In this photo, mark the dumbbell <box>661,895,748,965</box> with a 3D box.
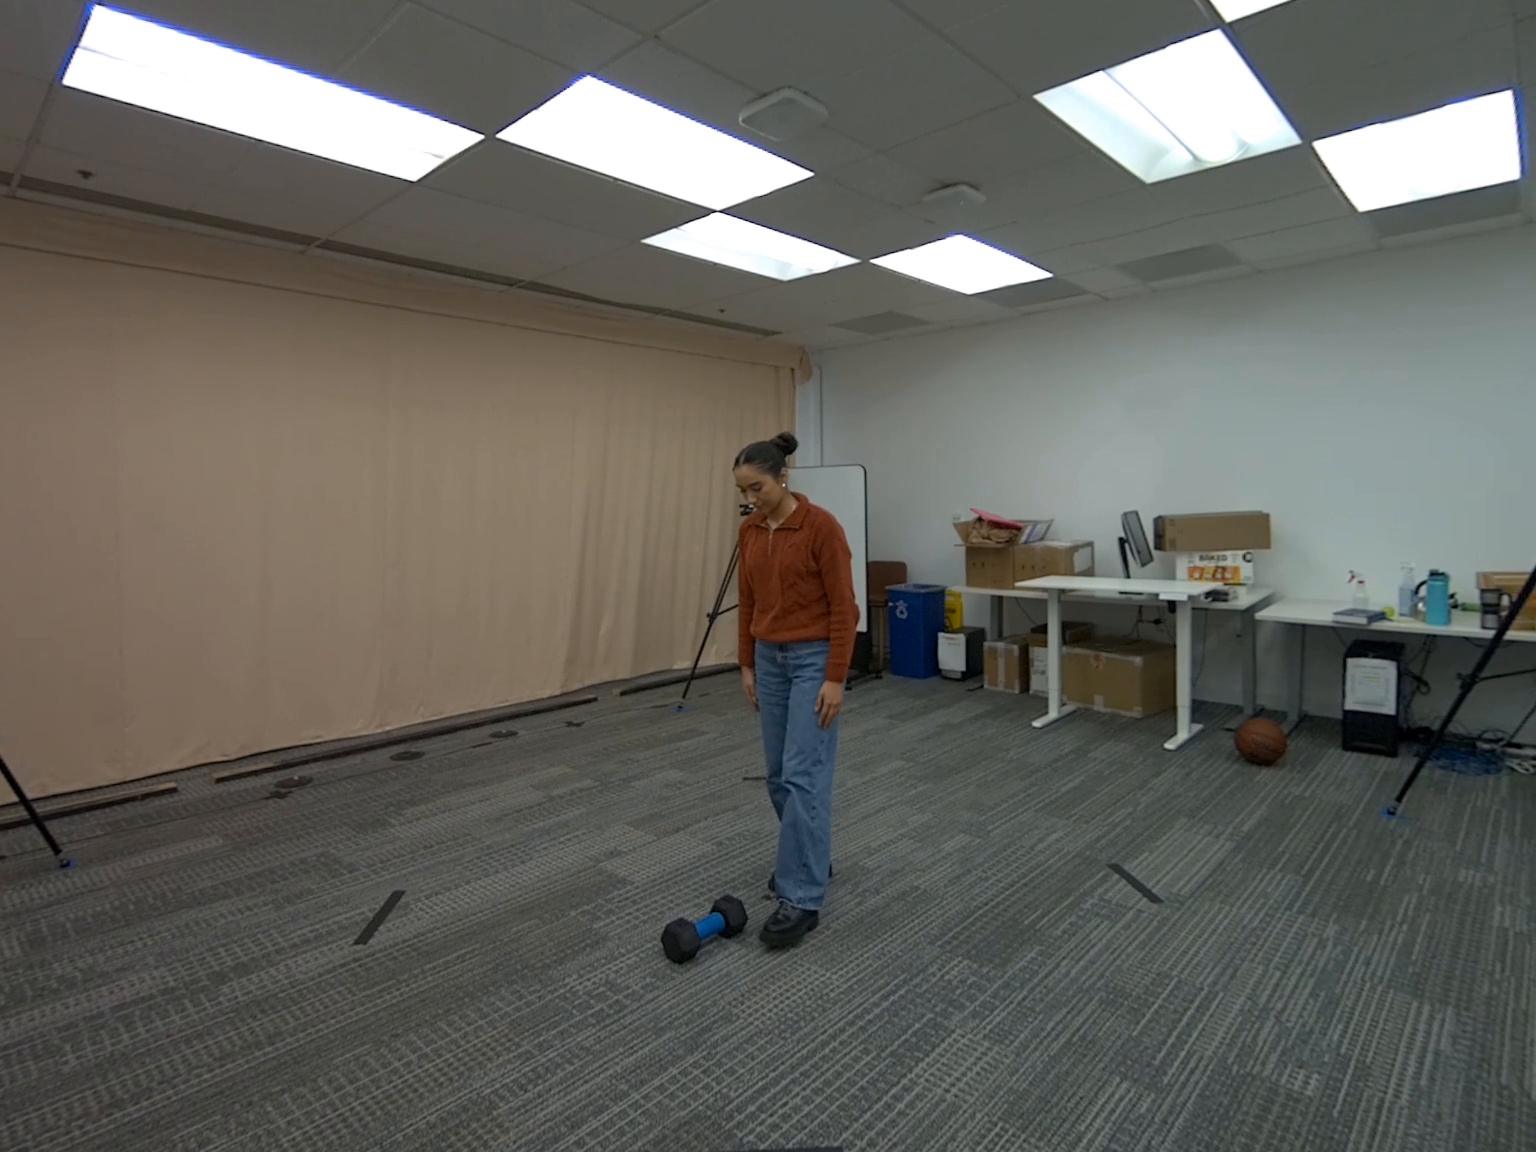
[{"bbox_3d":[-0.195,1.117,2.666,0.127,0.108,0.284,4,6,44],"label":"dumbbell"}]
